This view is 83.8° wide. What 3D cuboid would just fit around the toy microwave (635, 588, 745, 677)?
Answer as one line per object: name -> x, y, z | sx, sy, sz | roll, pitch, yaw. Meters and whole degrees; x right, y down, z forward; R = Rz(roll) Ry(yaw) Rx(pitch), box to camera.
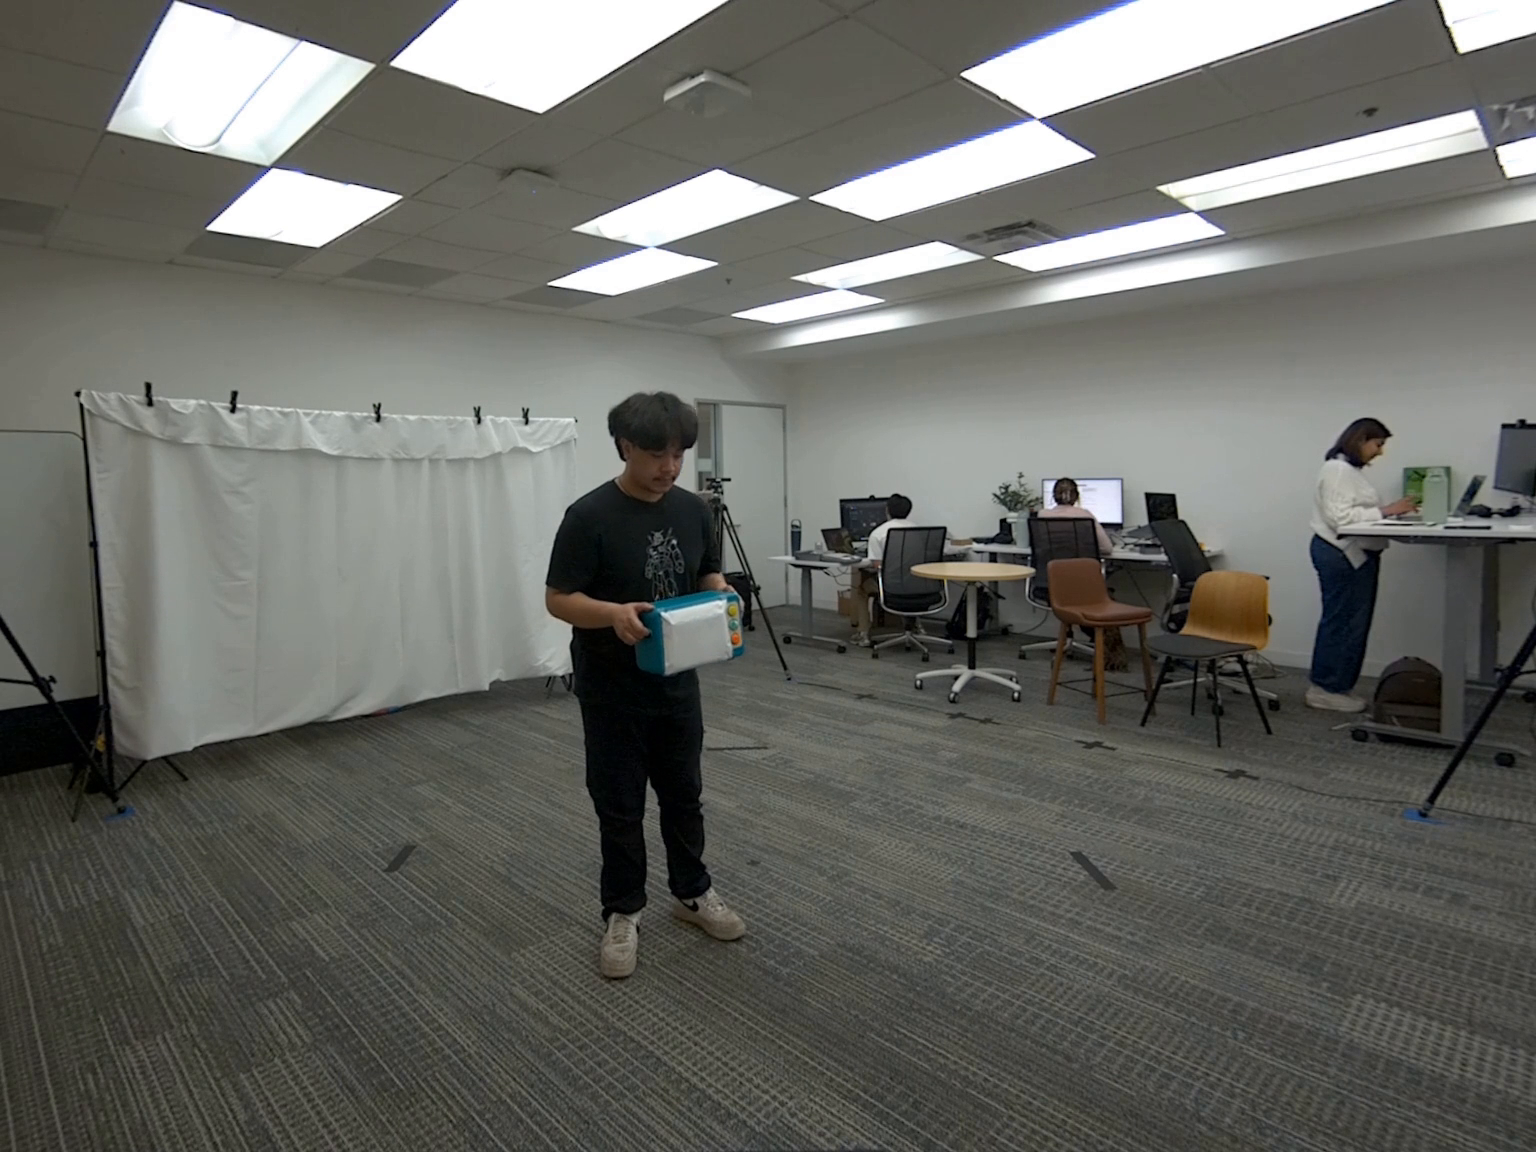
toy microwave -> -0.213, 0.155, 2.307 | 0.280, 0.183, 0.156 | -11, 5, -35
